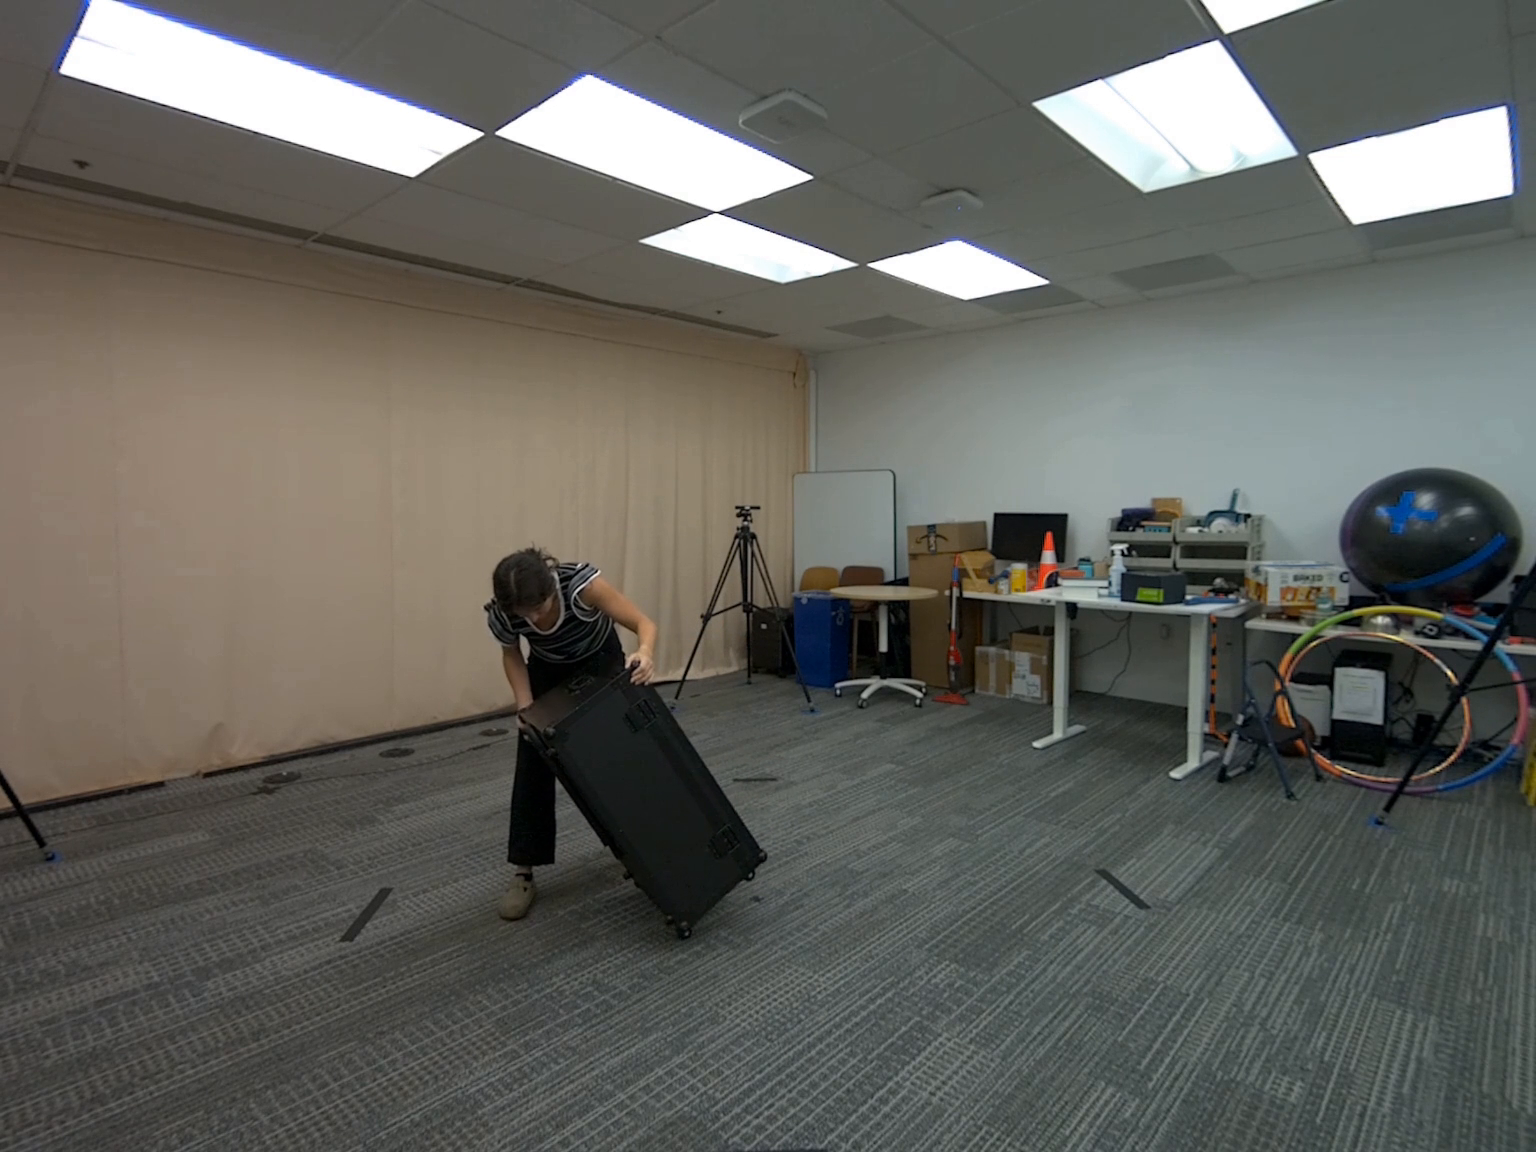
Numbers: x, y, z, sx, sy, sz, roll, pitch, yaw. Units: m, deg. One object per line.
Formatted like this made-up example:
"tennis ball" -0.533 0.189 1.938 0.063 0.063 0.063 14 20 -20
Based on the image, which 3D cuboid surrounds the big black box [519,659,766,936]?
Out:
"big black box" -0.413 0.733 2.819 0.392 0.851 0.532 -37 12 -21
